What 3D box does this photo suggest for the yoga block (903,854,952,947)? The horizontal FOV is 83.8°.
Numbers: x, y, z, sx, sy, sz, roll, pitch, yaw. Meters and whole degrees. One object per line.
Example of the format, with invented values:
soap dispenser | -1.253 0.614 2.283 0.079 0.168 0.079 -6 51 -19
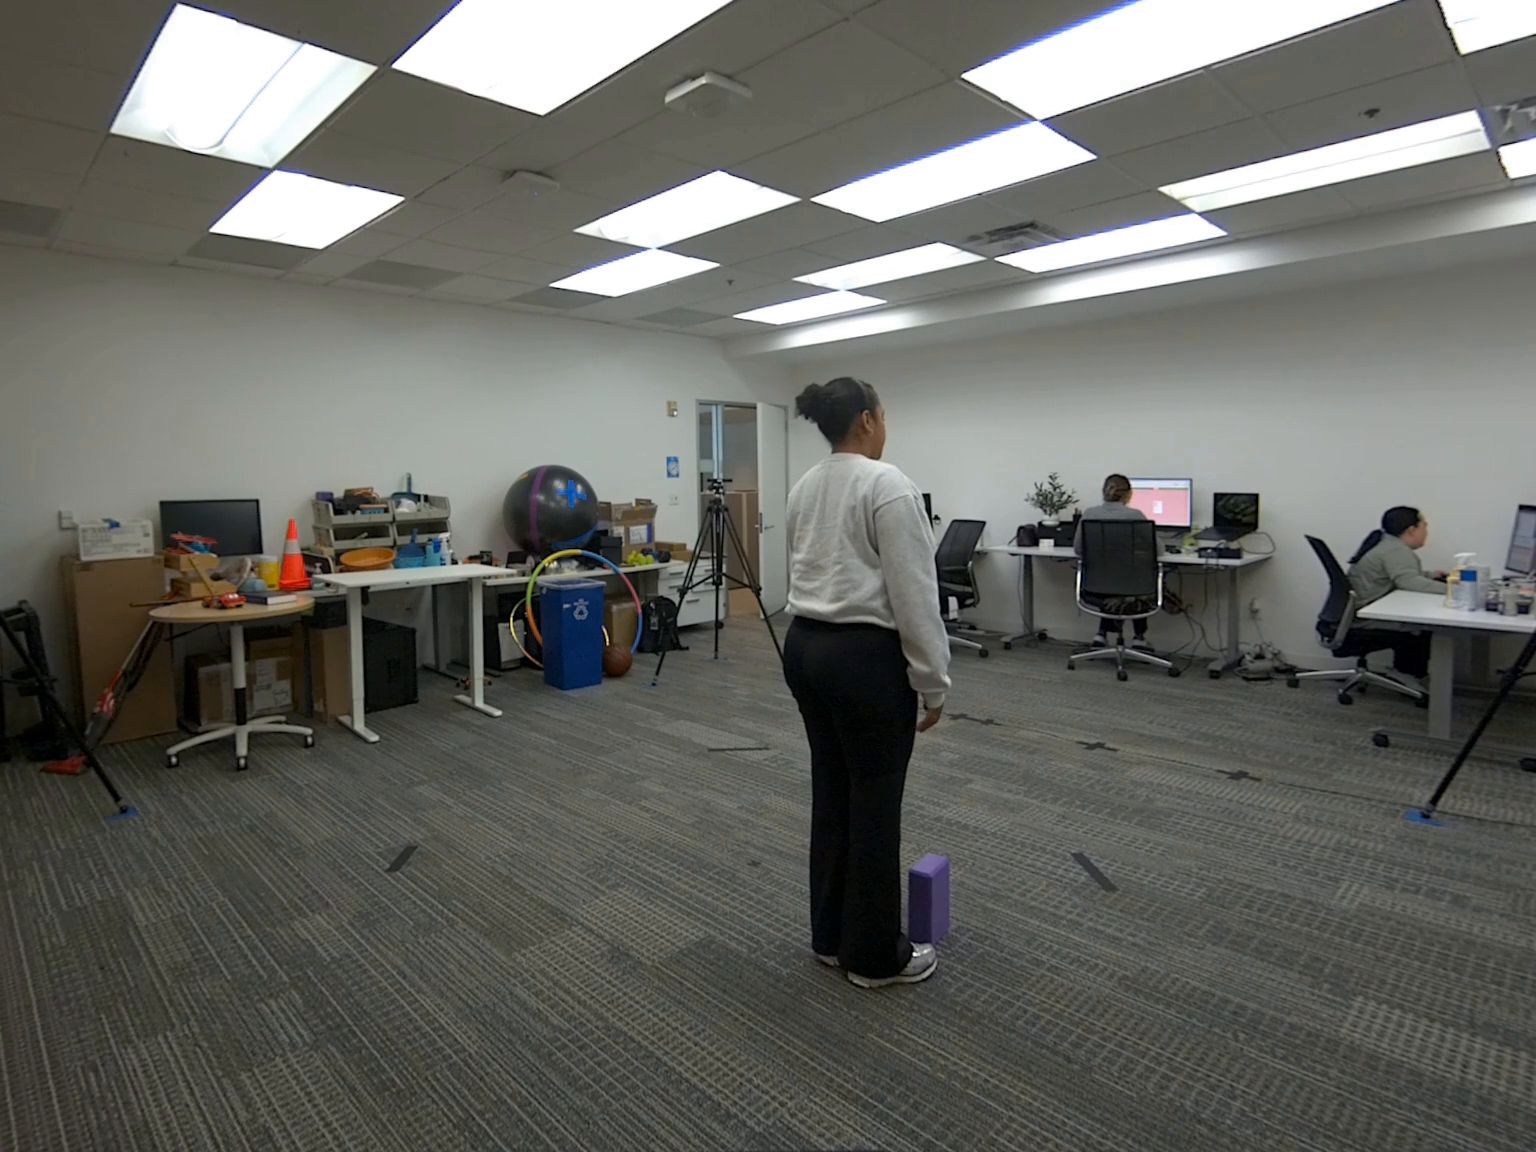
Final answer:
yoga block | 0.494 0.979 2.584 0.078 0.229 0.145 0 4 33
